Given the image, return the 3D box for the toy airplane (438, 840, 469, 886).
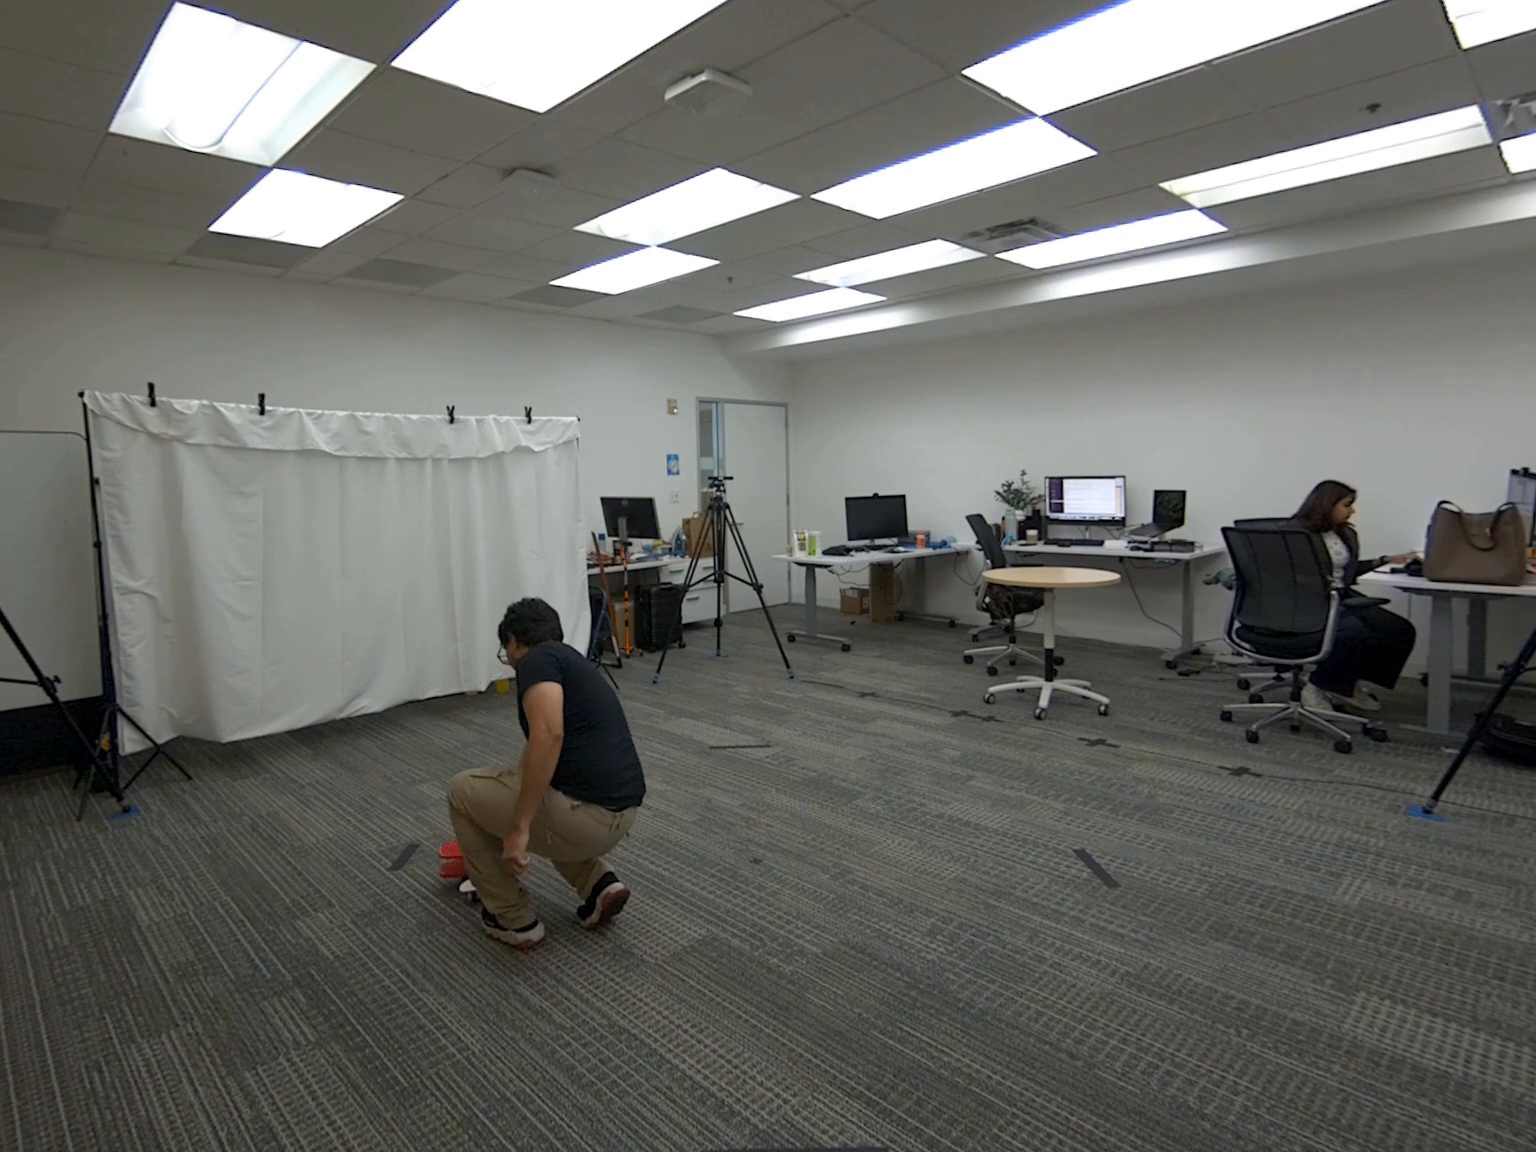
[{"bbox_3d":[-0.989,1.004,2.960,0.244,0.156,0.267,-6,7,-43],"label":"toy airplane"}]
